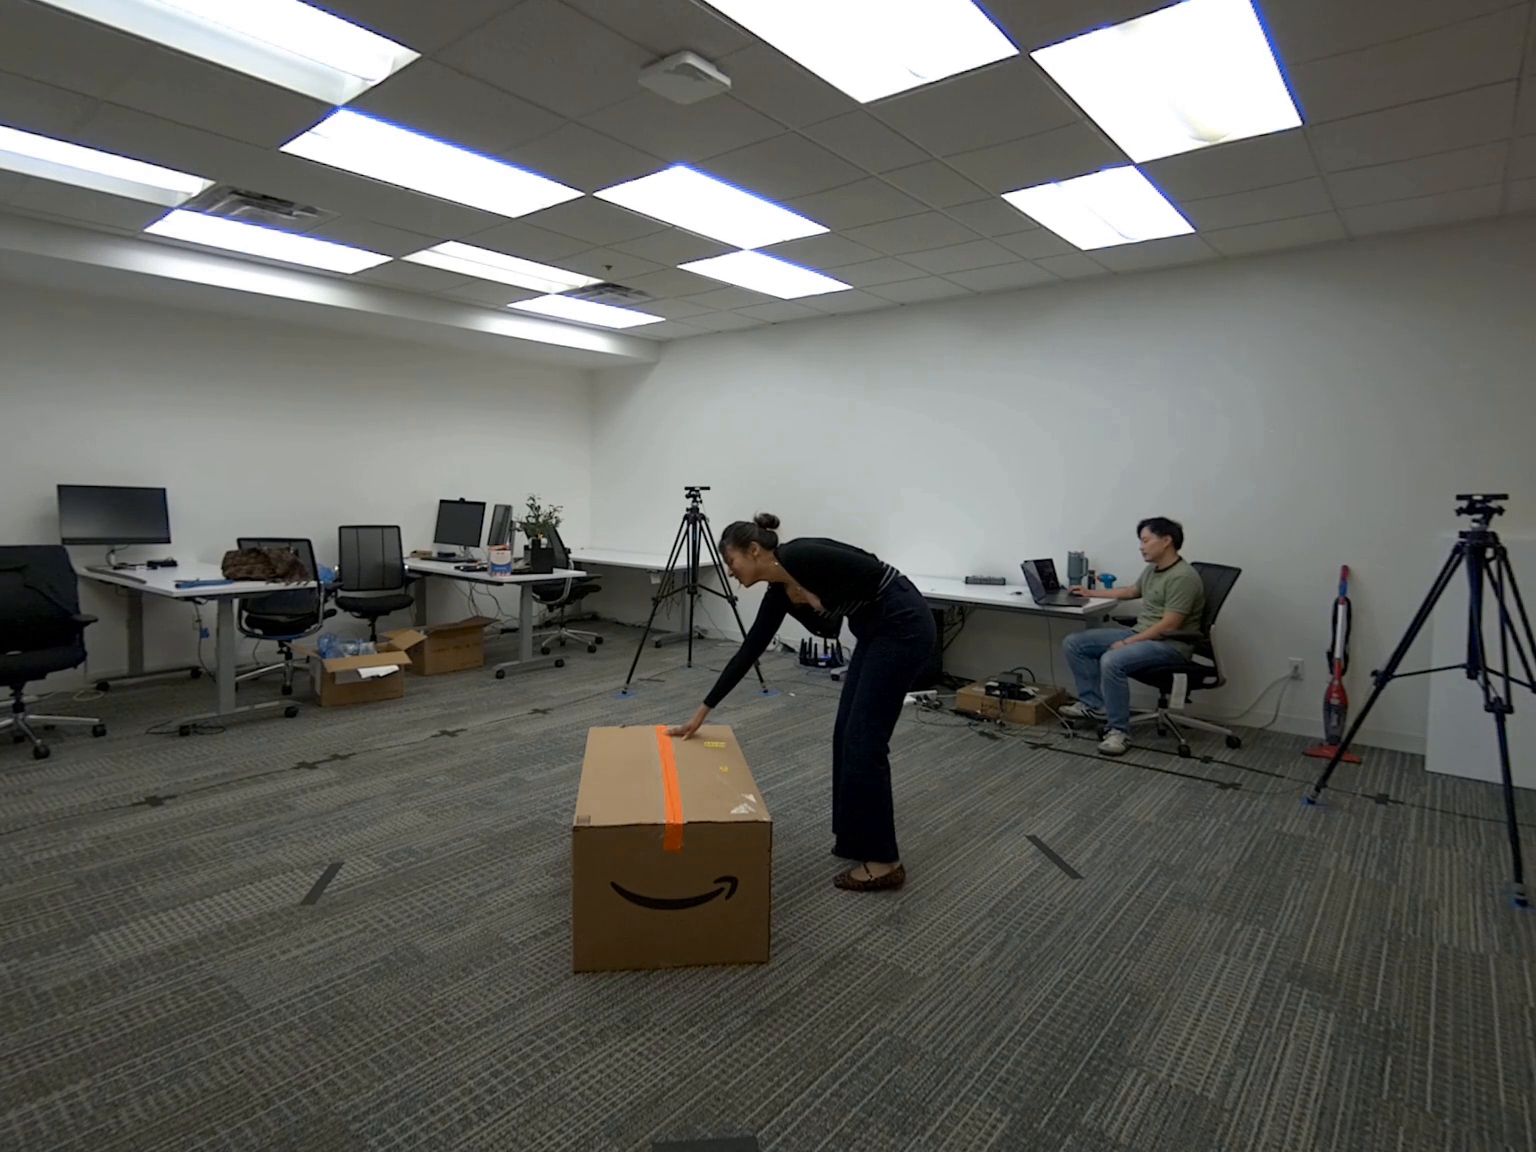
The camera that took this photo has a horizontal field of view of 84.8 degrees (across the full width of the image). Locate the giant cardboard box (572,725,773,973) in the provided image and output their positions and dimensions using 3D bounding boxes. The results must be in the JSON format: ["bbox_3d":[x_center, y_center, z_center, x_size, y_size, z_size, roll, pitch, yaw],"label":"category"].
[{"bbox_3d":[-0.367,0.863,2.944,0.573,0.425,1.038,1,5,-9],"label":"giant cardboard box"}]
